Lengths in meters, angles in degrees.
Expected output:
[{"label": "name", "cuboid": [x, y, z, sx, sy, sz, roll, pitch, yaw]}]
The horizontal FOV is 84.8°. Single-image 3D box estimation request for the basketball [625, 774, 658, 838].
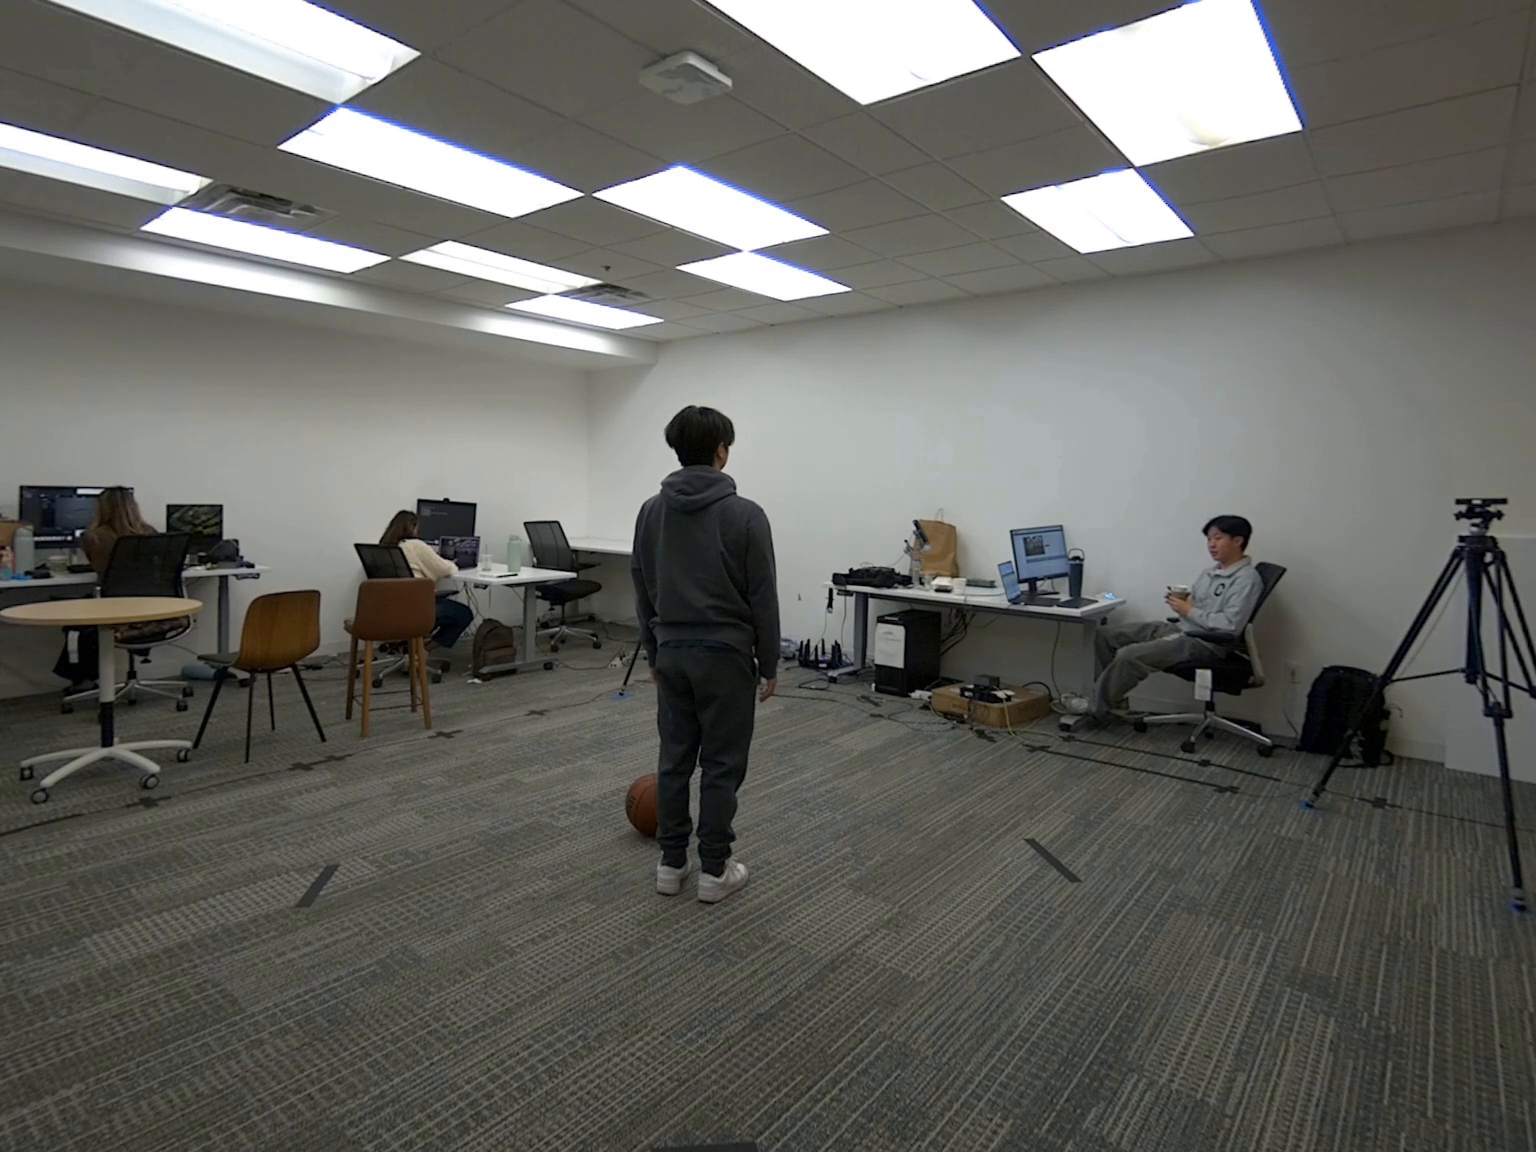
[{"label": "basketball", "cuboid": [-0.469, 0.914, 3.431, 0.235, 0.235, 0.237, 1, 4, -2]}]
